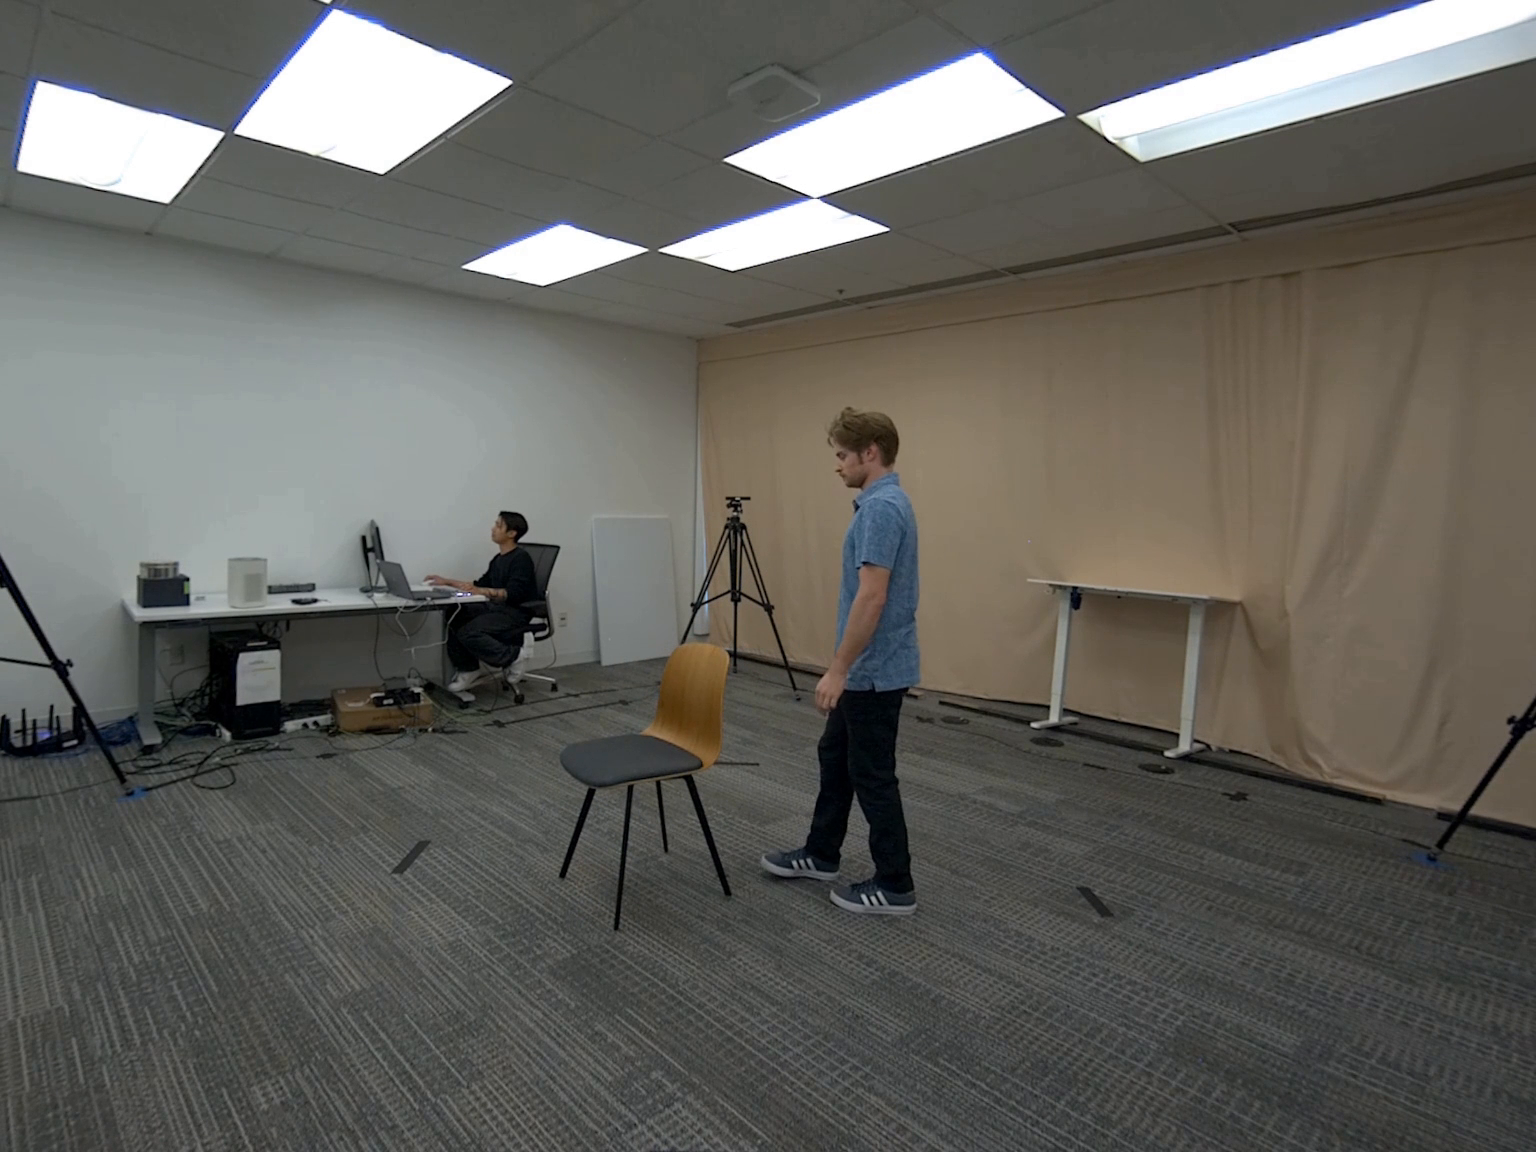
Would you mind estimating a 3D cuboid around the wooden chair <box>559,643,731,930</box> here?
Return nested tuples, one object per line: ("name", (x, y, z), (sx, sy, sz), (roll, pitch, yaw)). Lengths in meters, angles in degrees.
("wooden chair", (-0.440, 0.683, 2.969), (0.510, 0.877, 0.490), (4, 1, -36))
